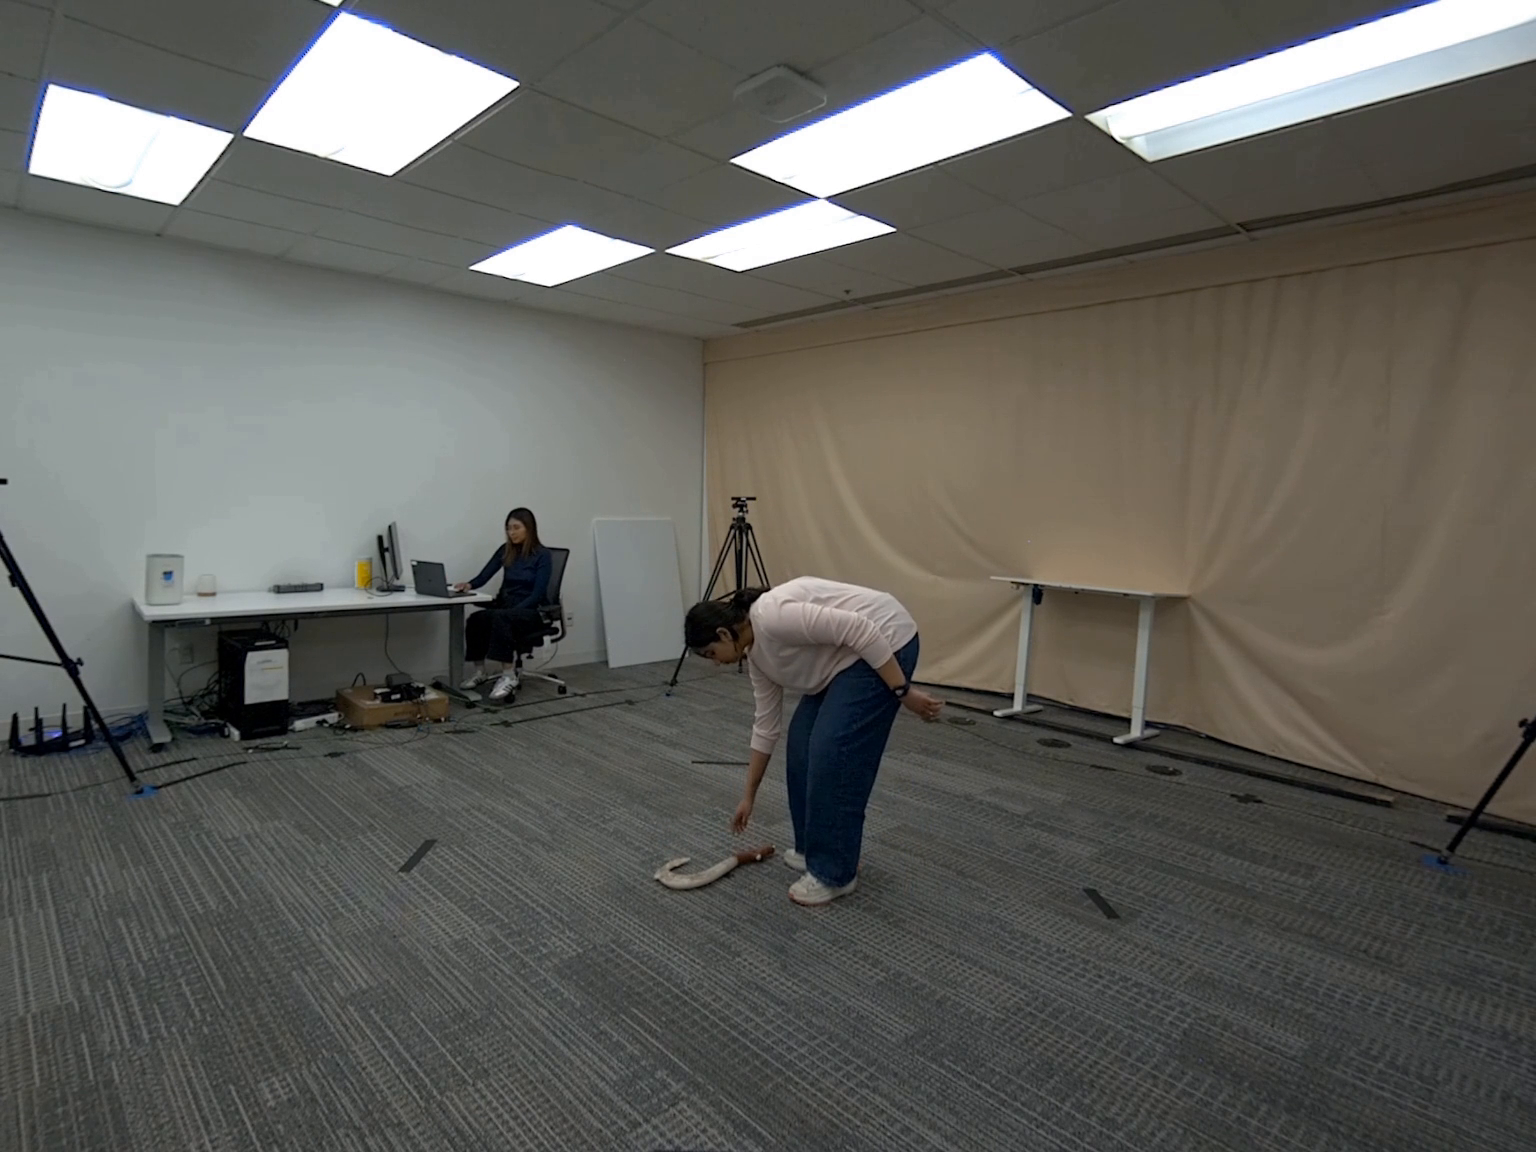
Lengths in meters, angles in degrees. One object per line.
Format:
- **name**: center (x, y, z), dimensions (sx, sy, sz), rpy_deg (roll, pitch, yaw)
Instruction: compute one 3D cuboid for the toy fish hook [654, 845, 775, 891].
- **toy fish hook**: center (-0.201, 1.070, 3.176), dimensions (0.495, 0.048, 0.230), rpy_deg (-3, 8, -41)
